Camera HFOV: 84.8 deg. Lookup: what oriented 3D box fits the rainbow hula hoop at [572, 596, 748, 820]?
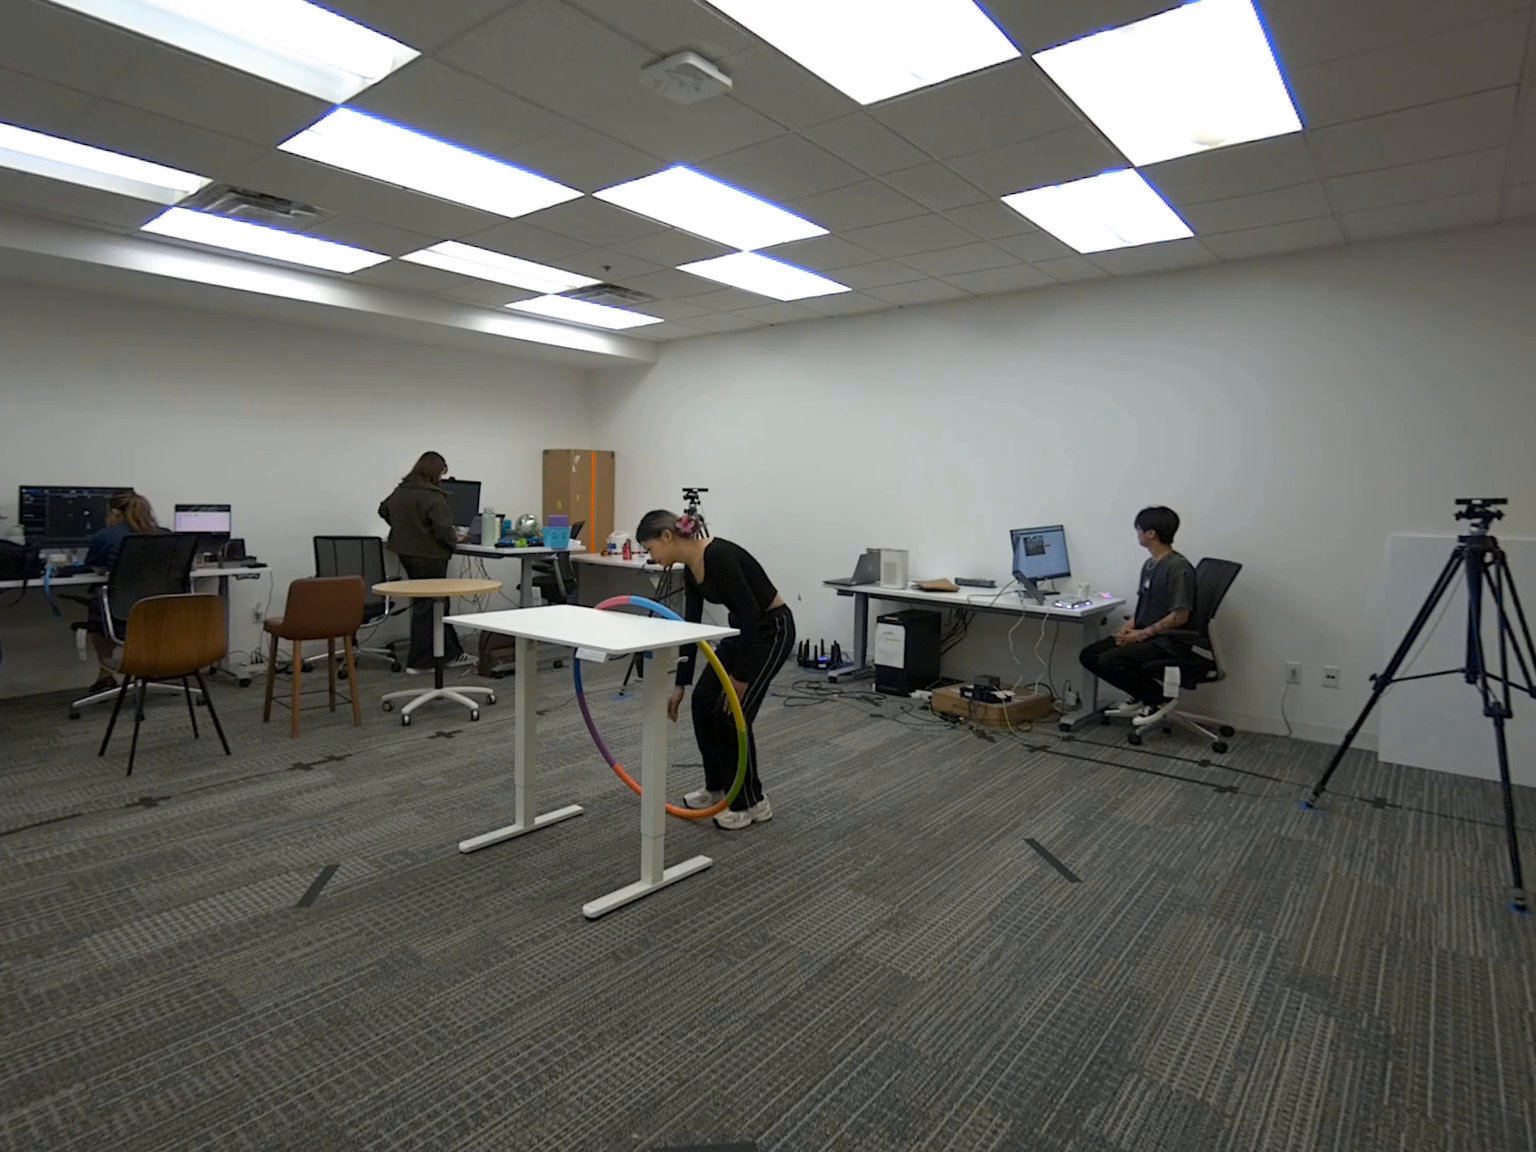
[{"bbox_3d":[-0.486,0.549,3.531,1.011,0.963,0.035,4,19,40],"label":"rainbow hula hoop"}]
